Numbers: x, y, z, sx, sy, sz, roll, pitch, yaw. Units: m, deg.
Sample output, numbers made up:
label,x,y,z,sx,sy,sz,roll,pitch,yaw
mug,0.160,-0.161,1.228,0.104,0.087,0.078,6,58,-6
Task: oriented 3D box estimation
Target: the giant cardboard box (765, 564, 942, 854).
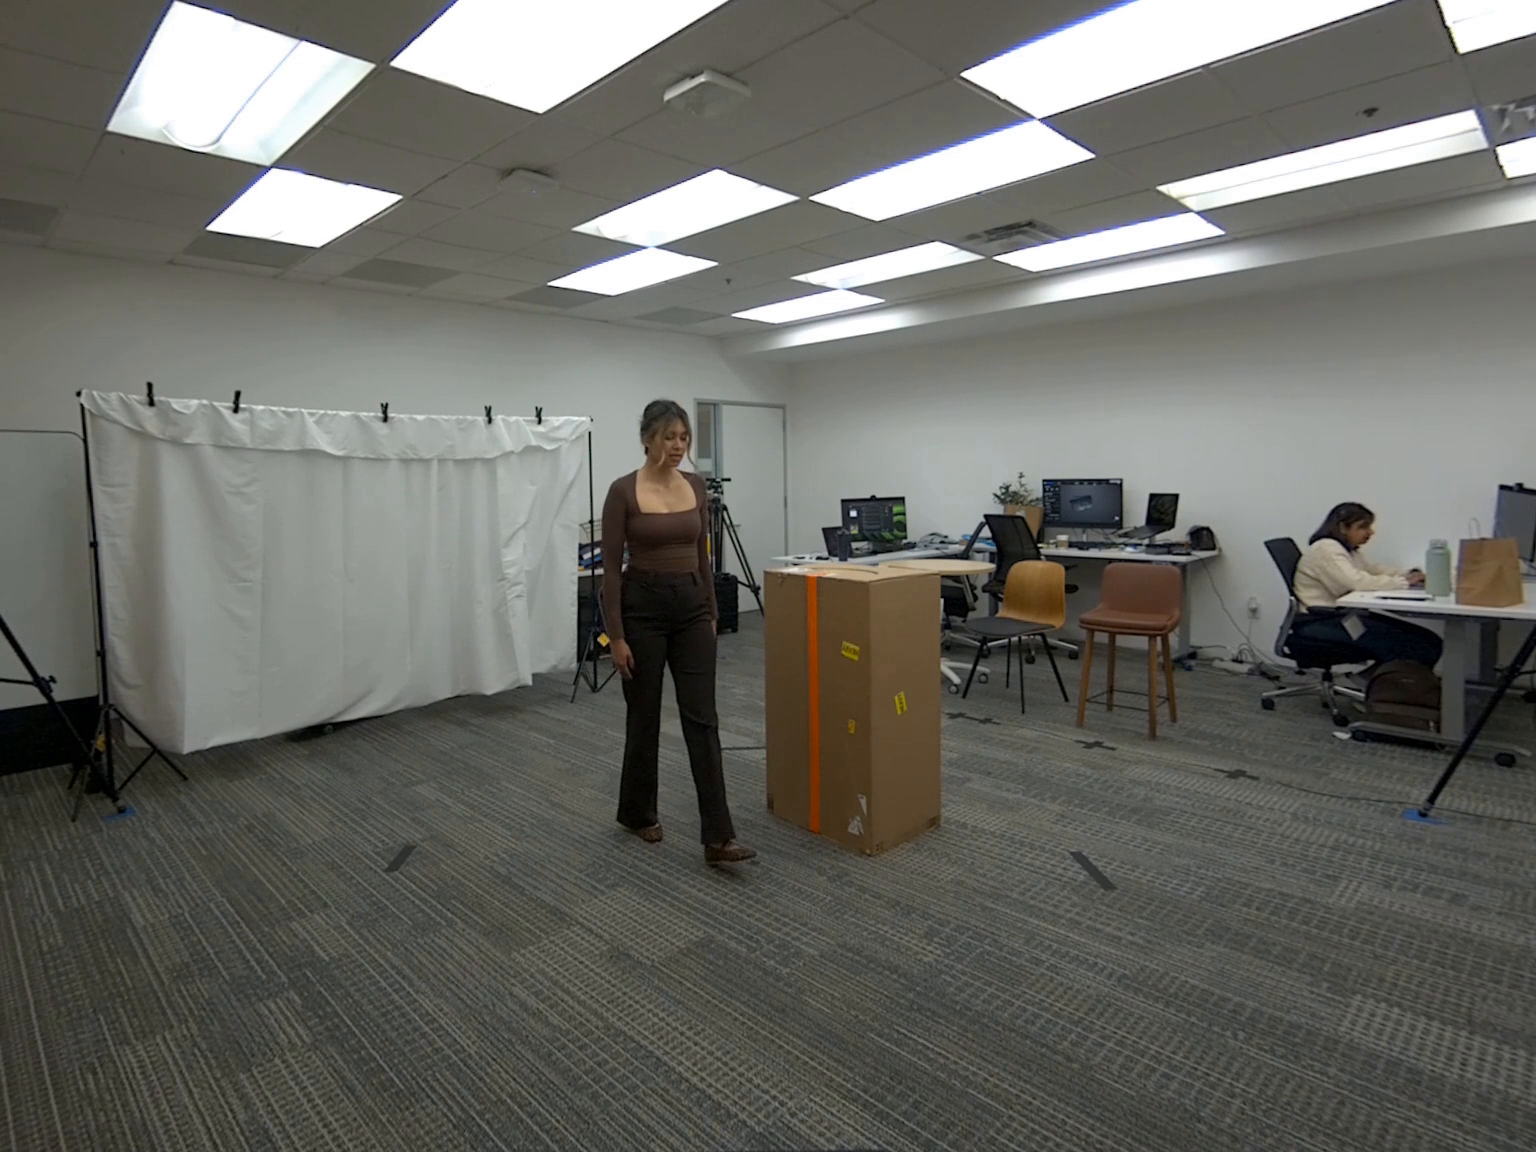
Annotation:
label,x,y,z,sx,sy,sz,roll,pitch,yaw
giant cardboard box,0.335,0.484,3.459,0.435,1.022,0.602,-5,6,-39
